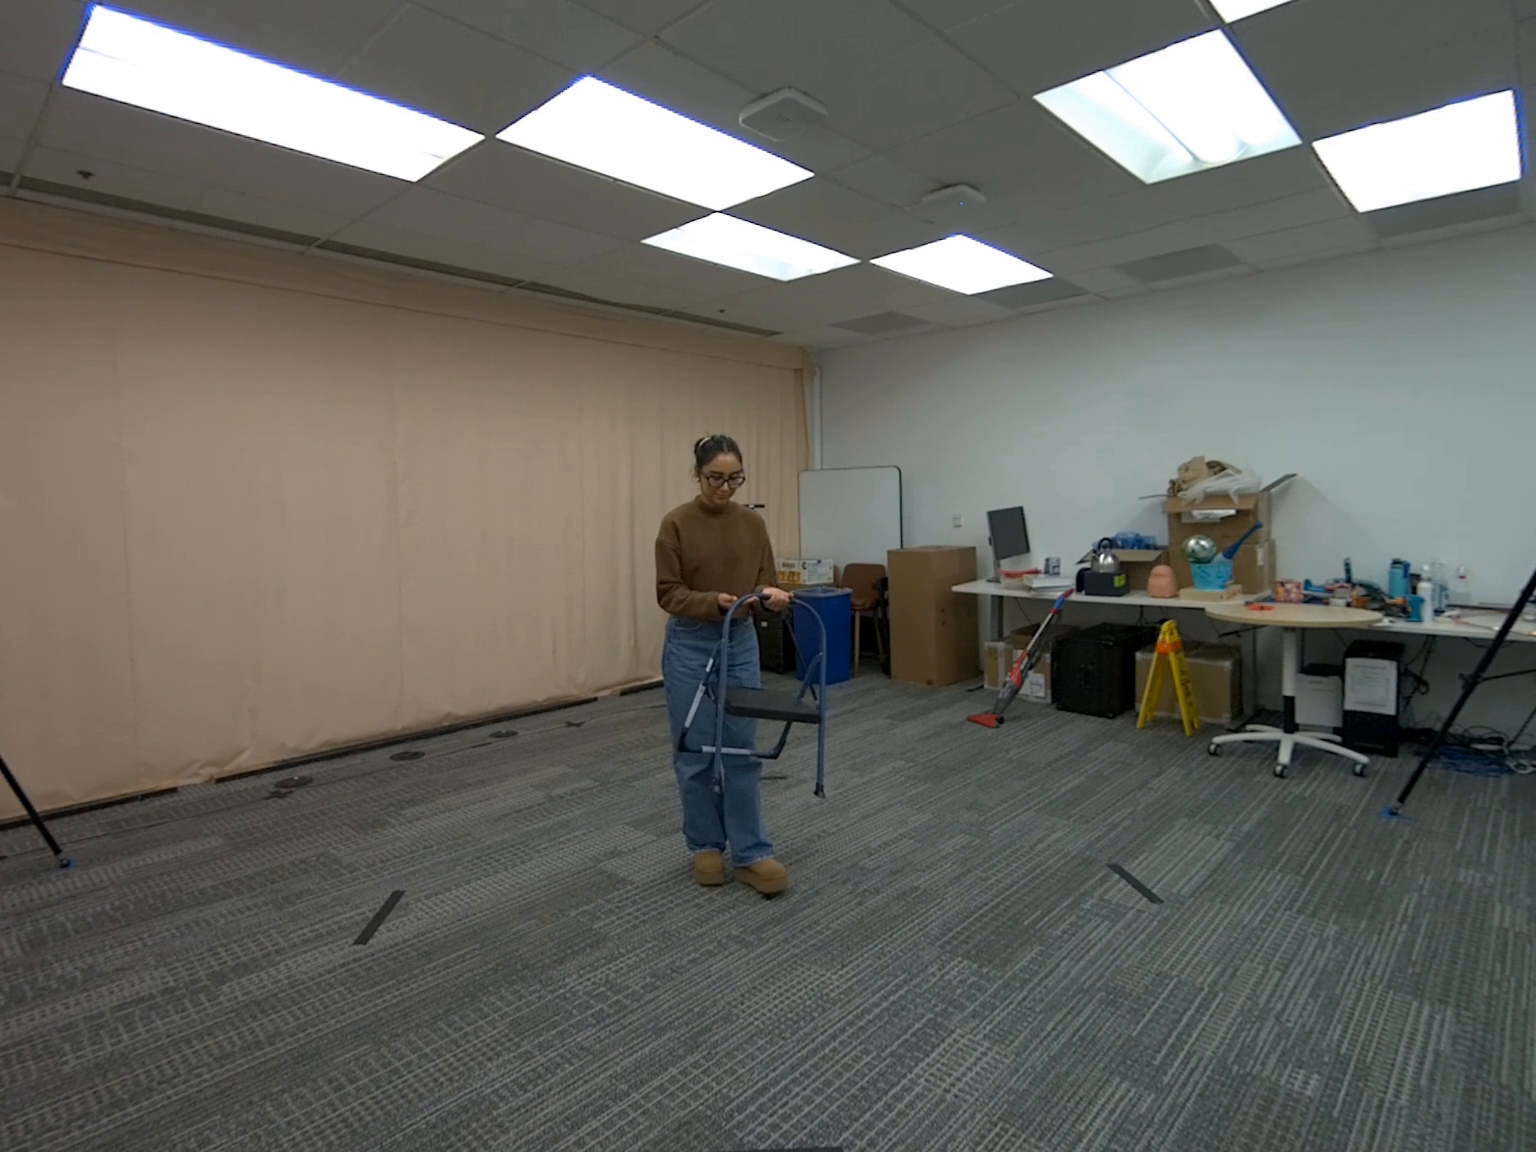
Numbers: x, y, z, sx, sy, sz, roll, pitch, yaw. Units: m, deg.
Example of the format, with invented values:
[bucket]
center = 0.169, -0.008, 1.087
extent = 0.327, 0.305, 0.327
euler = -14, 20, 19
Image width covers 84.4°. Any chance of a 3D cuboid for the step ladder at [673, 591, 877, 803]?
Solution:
[step ladder]
center = 0.013, 0.383, 2.850
extent = 0.418, 0.605, 0.360
euler = 13, 4, -29
